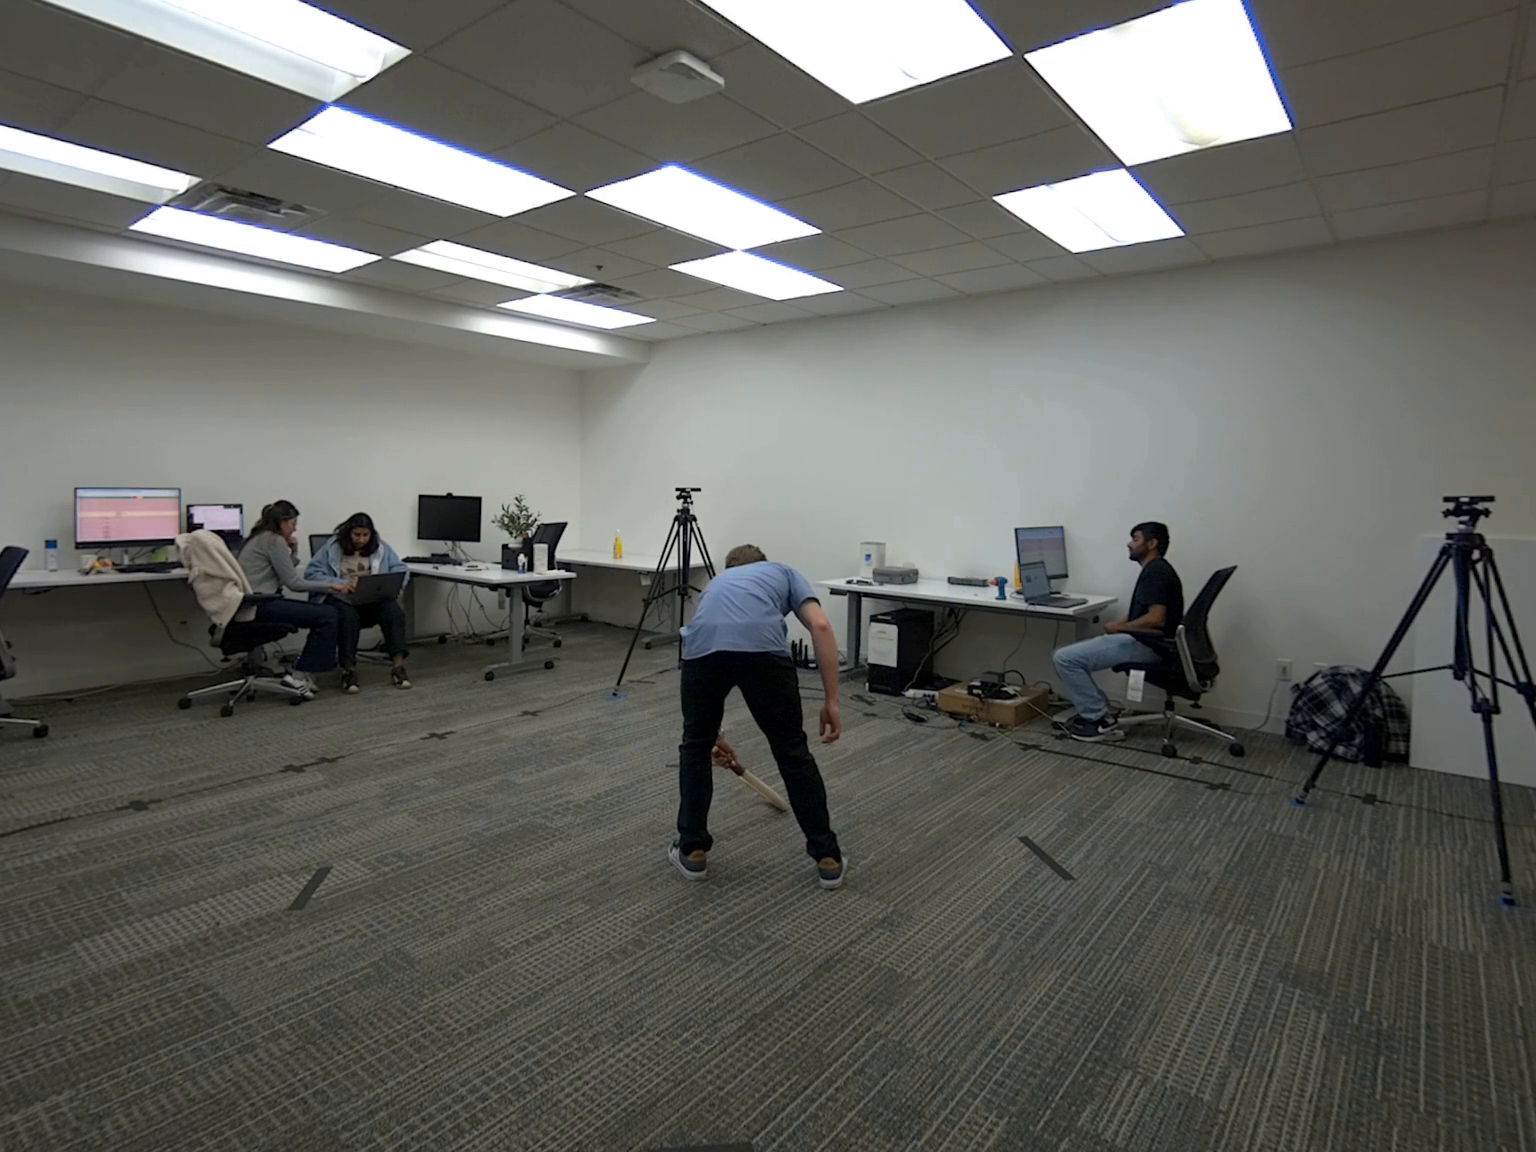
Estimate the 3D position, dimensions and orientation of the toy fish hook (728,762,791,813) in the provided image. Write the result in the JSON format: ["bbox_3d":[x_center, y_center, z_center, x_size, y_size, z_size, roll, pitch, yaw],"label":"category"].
[{"bbox_3d":[-0.124,0.855,3.645,0.491,0.048,0.231,45,-23,-25],"label":"toy fish hook"}]
